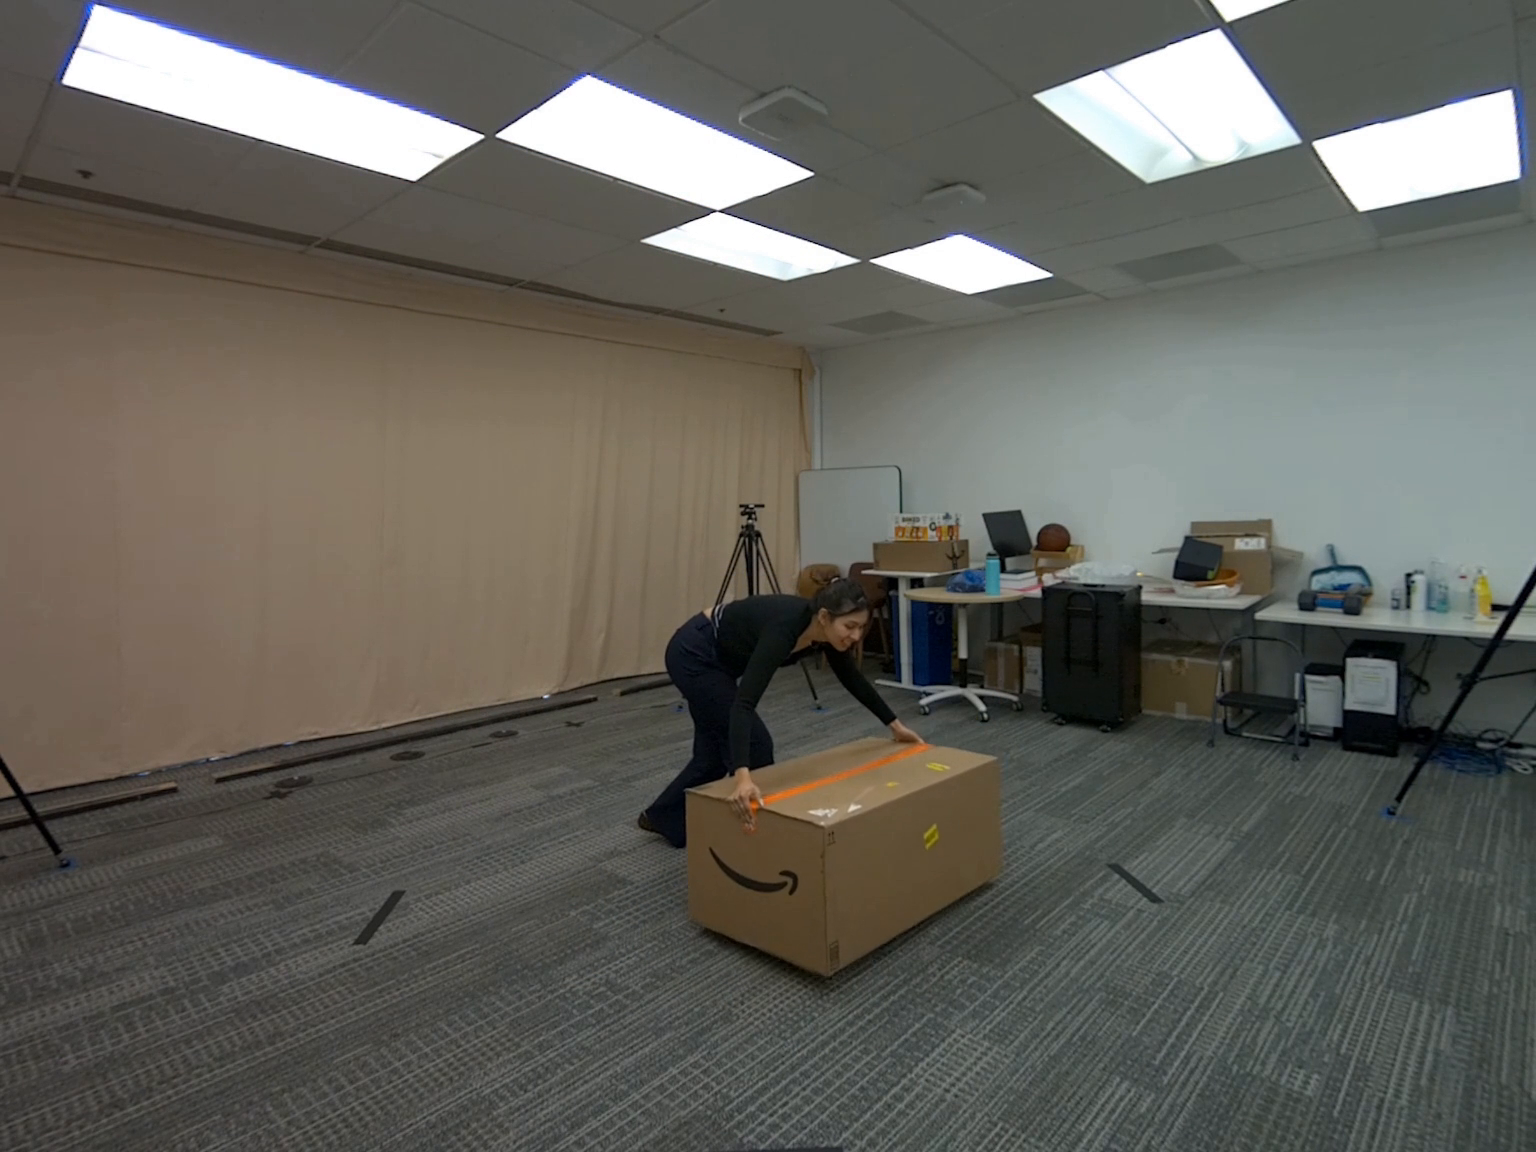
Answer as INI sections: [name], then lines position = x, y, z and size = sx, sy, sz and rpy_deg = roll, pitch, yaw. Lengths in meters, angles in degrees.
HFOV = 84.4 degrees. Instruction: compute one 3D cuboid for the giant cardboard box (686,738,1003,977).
[giant cardboard box]
position = 0.299, 0.885, 2.899
size = 0.596, 0.426, 0.994
rpy_deg = -1, 1, 43
